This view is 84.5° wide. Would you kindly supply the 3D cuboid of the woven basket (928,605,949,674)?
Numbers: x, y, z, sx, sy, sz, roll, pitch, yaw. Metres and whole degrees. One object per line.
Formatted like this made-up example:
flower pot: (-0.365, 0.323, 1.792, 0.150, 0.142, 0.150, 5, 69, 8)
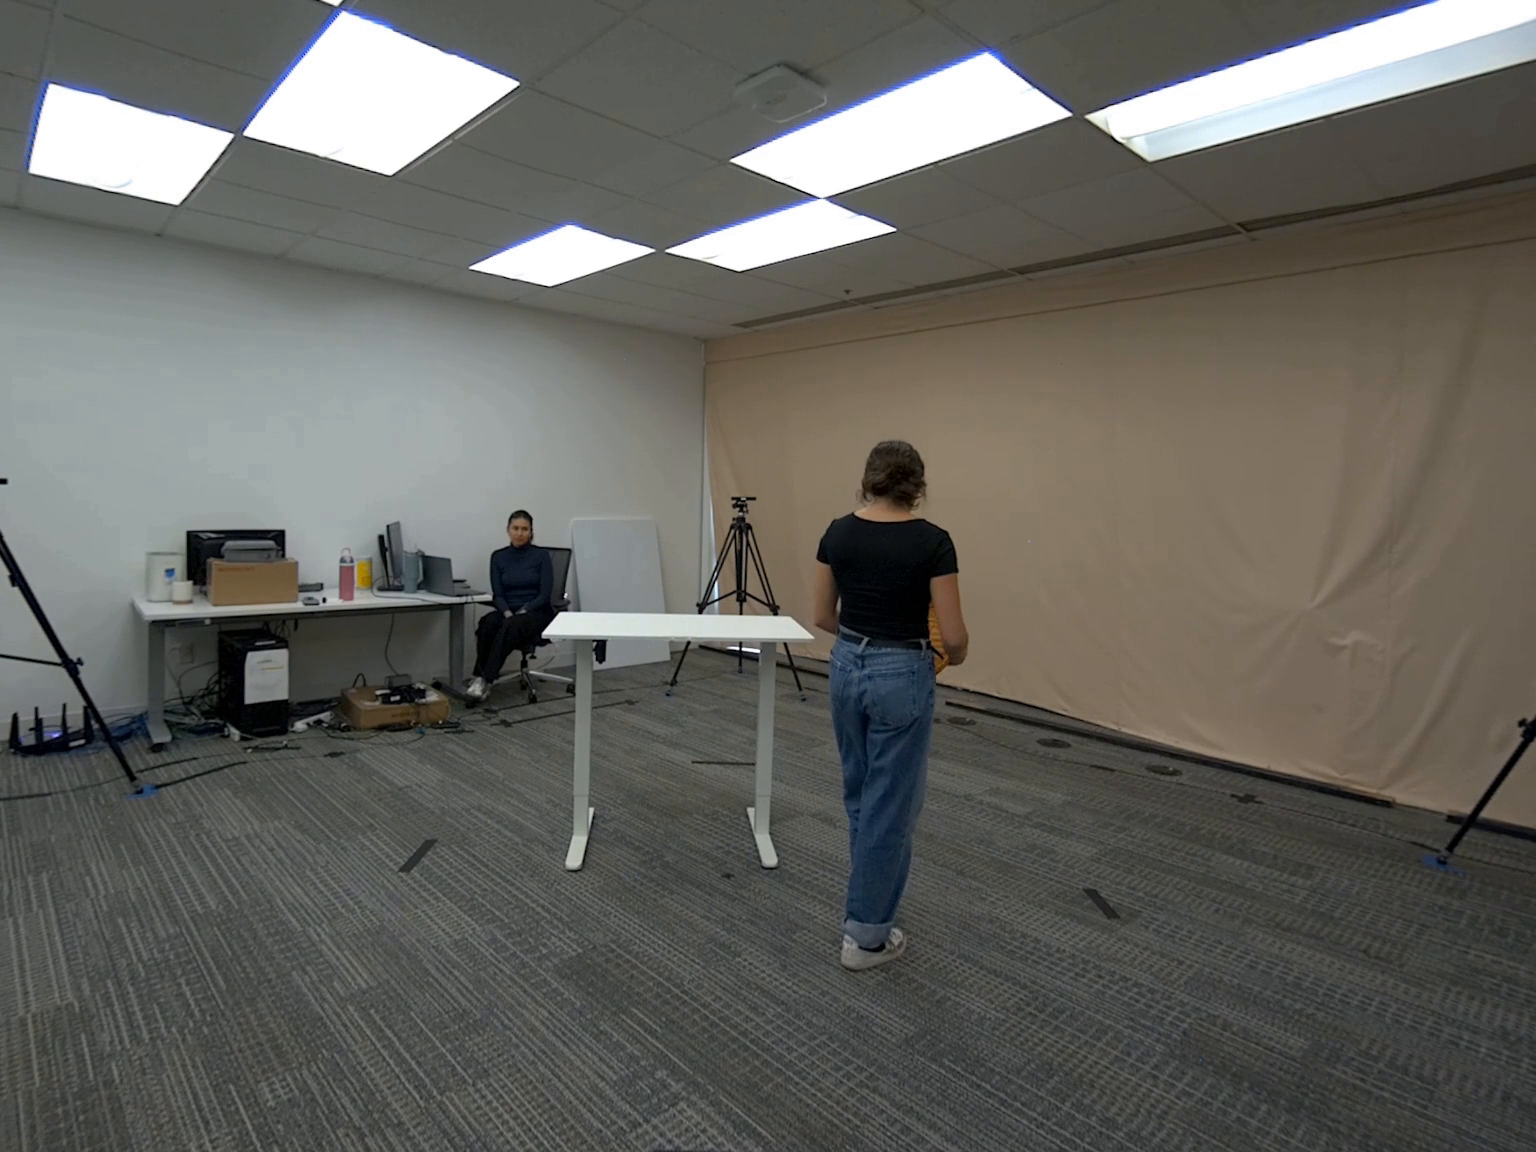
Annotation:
woven basket: (0.515, 0.207, 2.757, 0.260, 0.351, 0.071, 25, -21, 38)
